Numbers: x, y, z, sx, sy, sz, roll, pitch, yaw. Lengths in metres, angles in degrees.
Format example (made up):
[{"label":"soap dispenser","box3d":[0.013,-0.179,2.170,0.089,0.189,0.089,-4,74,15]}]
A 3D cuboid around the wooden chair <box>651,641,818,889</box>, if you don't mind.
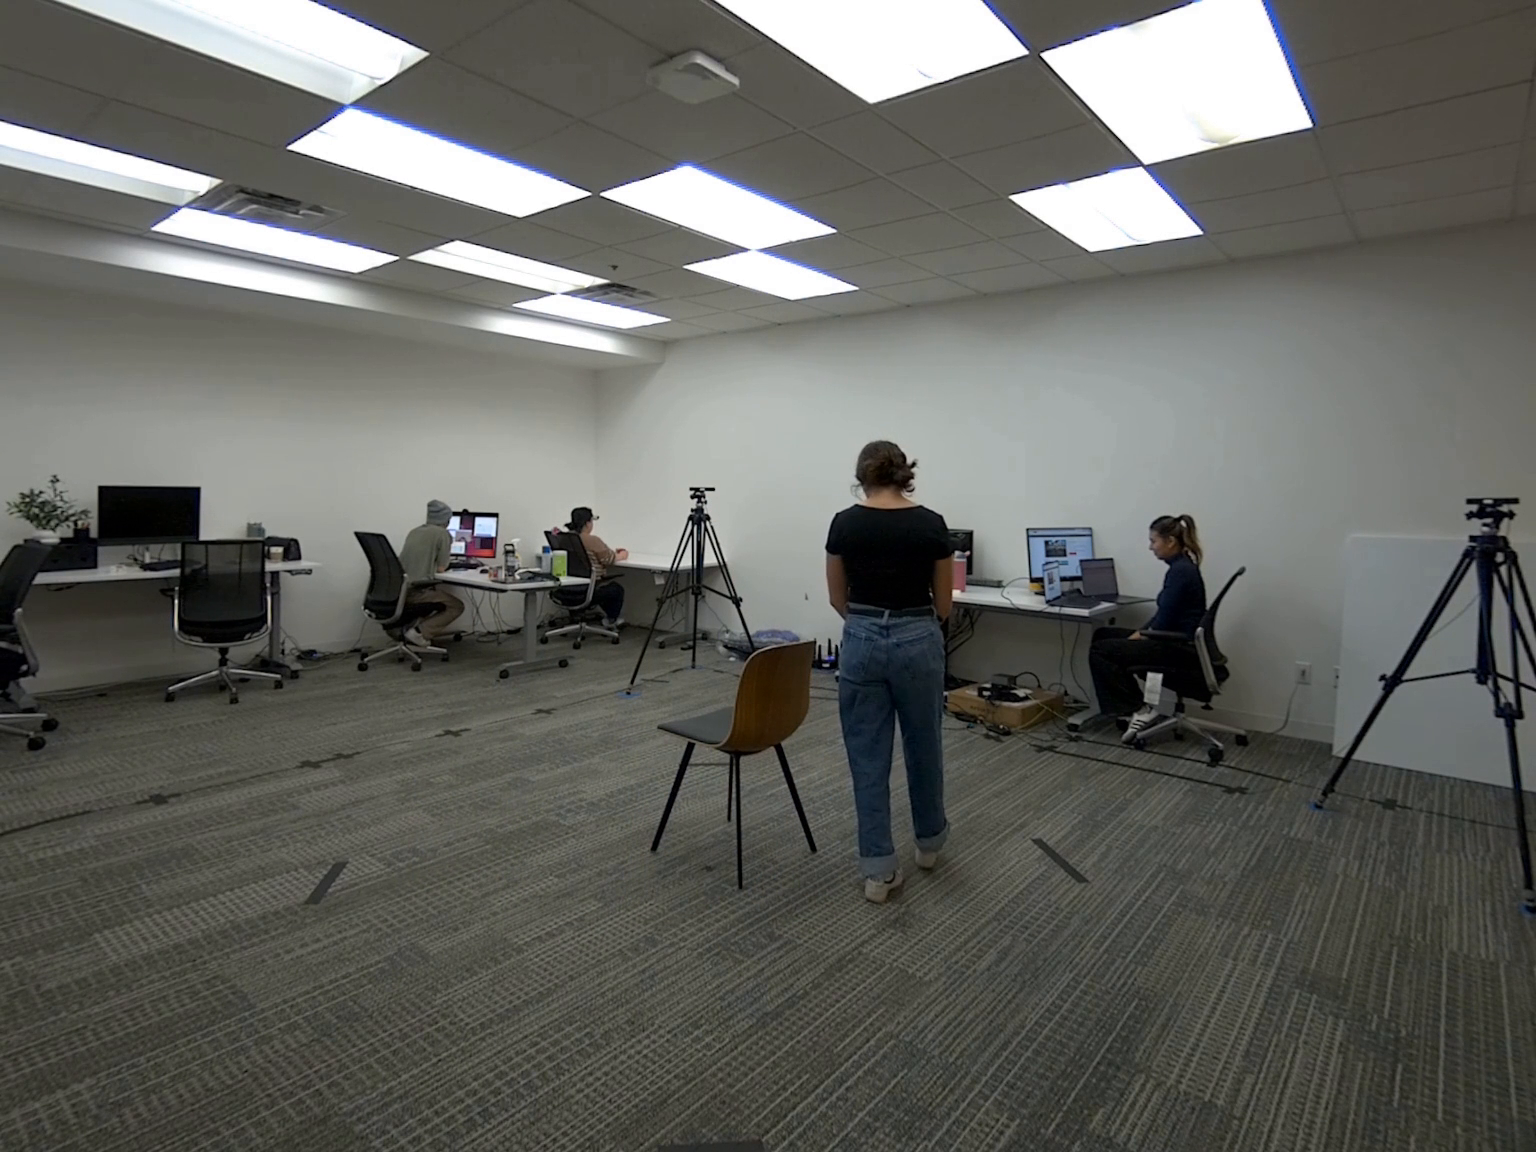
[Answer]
[{"label":"wooden chair","box3d":[-0.133,0.628,3.241,0.542,0.873,0.463,10,8,40]}]
